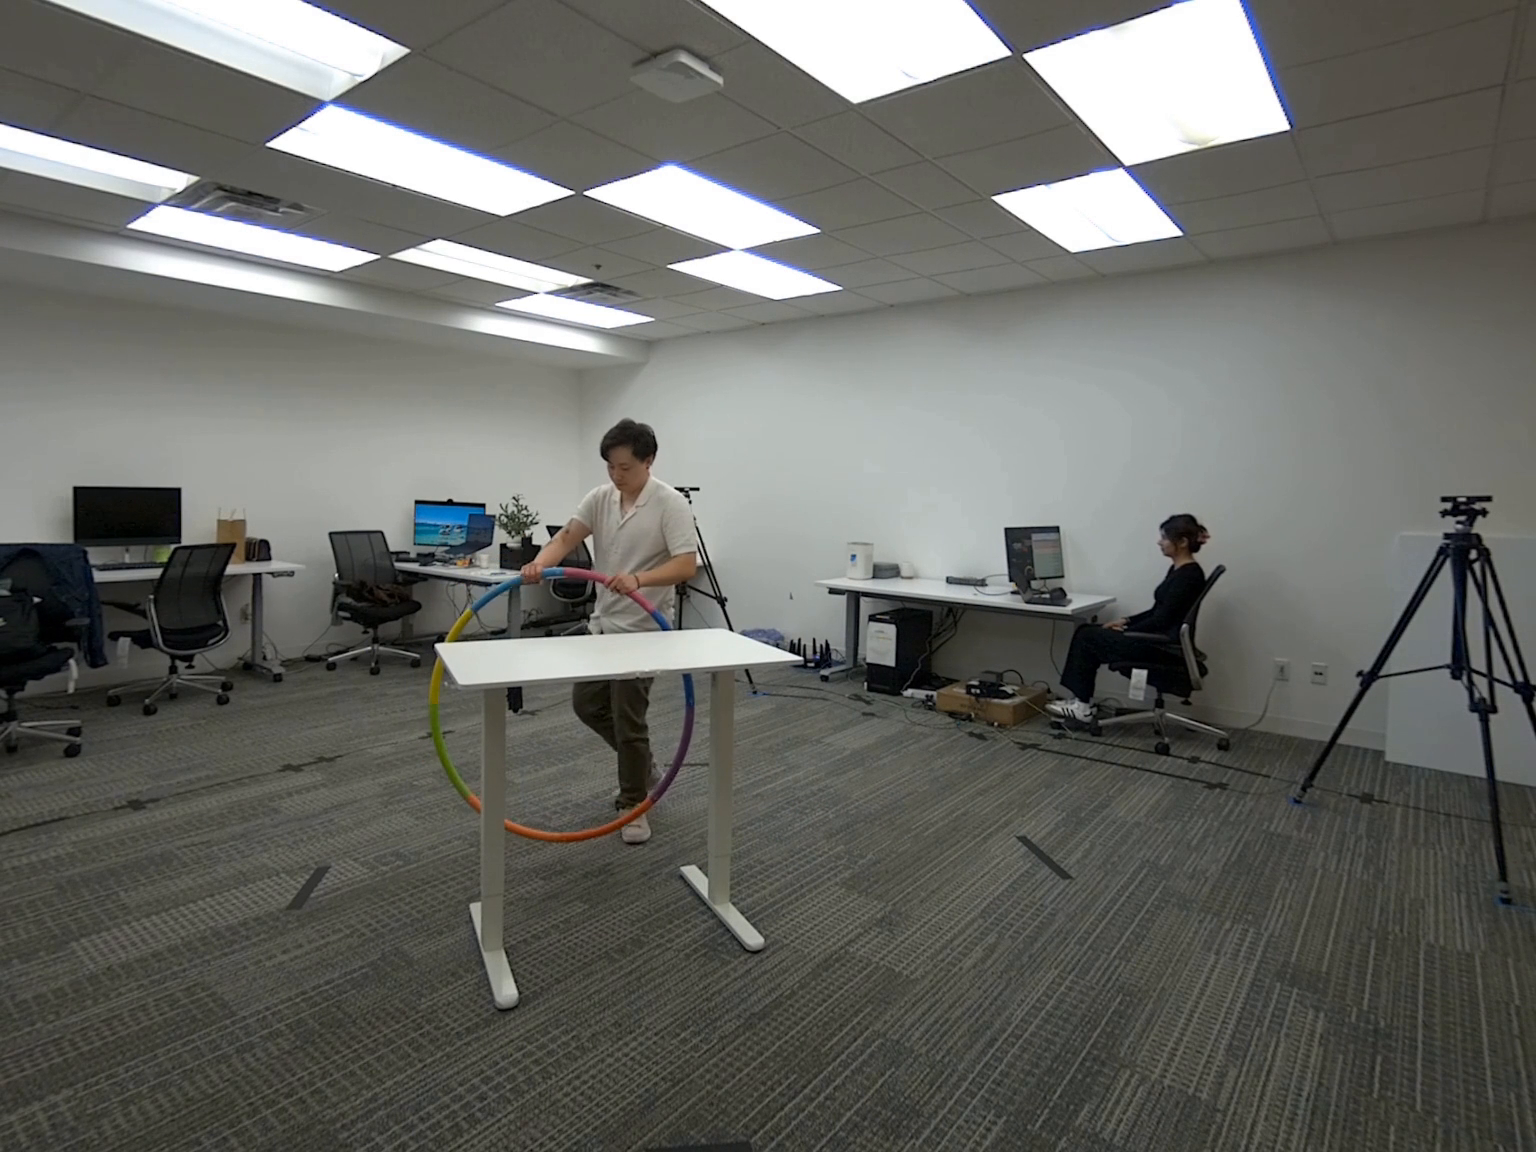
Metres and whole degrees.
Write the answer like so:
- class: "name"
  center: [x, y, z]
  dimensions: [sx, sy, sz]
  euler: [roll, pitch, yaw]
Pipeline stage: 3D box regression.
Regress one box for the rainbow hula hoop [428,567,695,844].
- class: "rainbow hula hoop"
  center: [-0.776, 0.476, 3.115]
  dimensions: [0.979, 0.980, 0.035]
  euler: [1, -1, 0]
